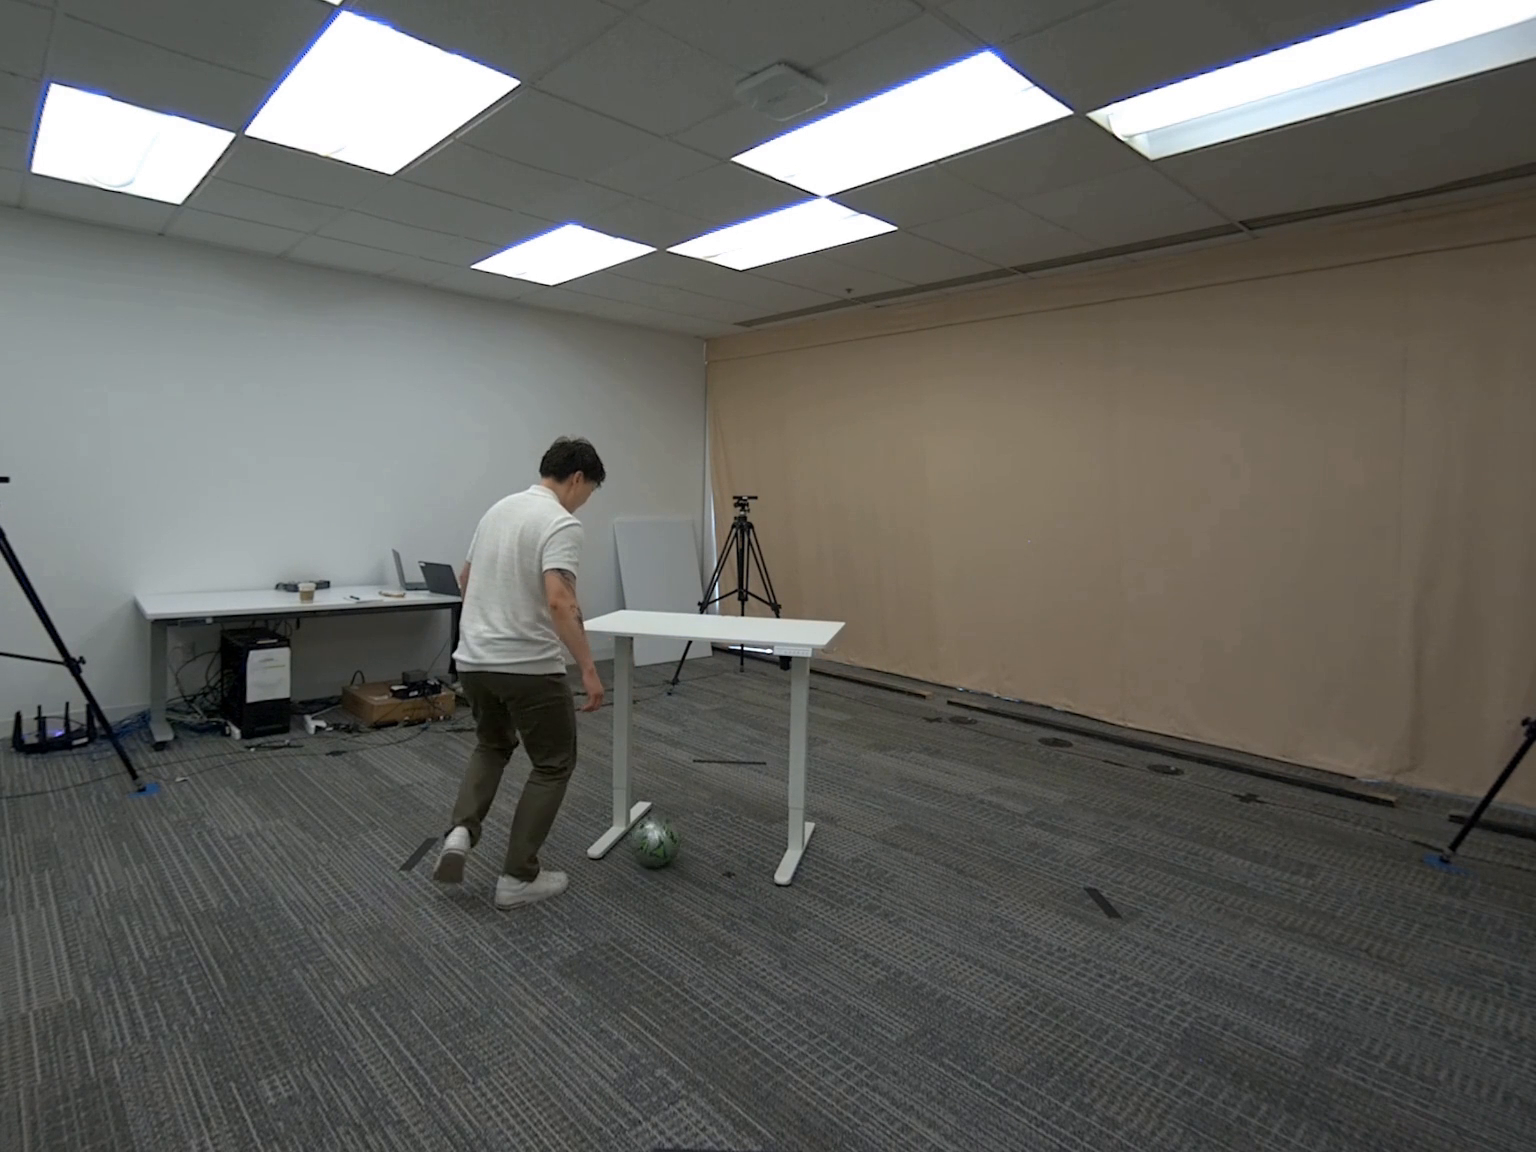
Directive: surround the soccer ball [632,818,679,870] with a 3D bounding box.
[{"bbox_3d":[-0.433,0.994,3.161,0.187,0.187,0.188,1,4,-1],"label":"soccer ball"}]
